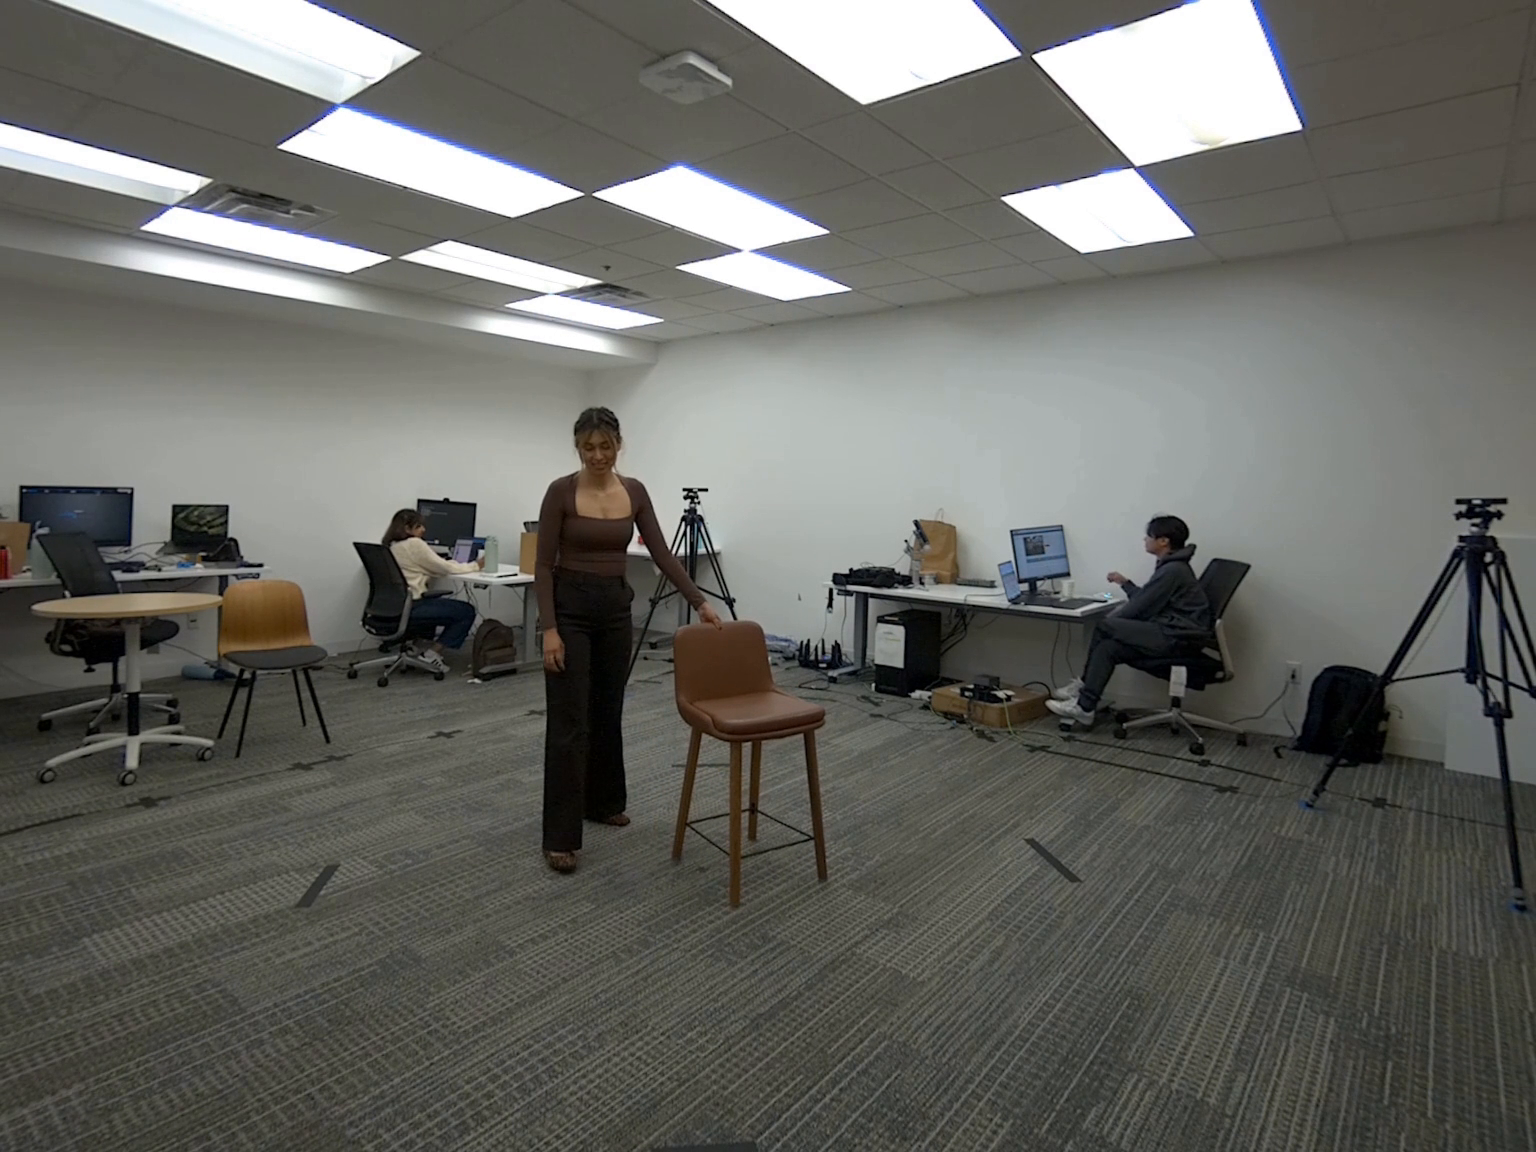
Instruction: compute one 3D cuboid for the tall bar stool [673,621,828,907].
[{"bbox_3d":[-0.084,0.636,3.105,0.443,0.889,0.482,-1,2,-35],"label":"tall bar stool"}]
